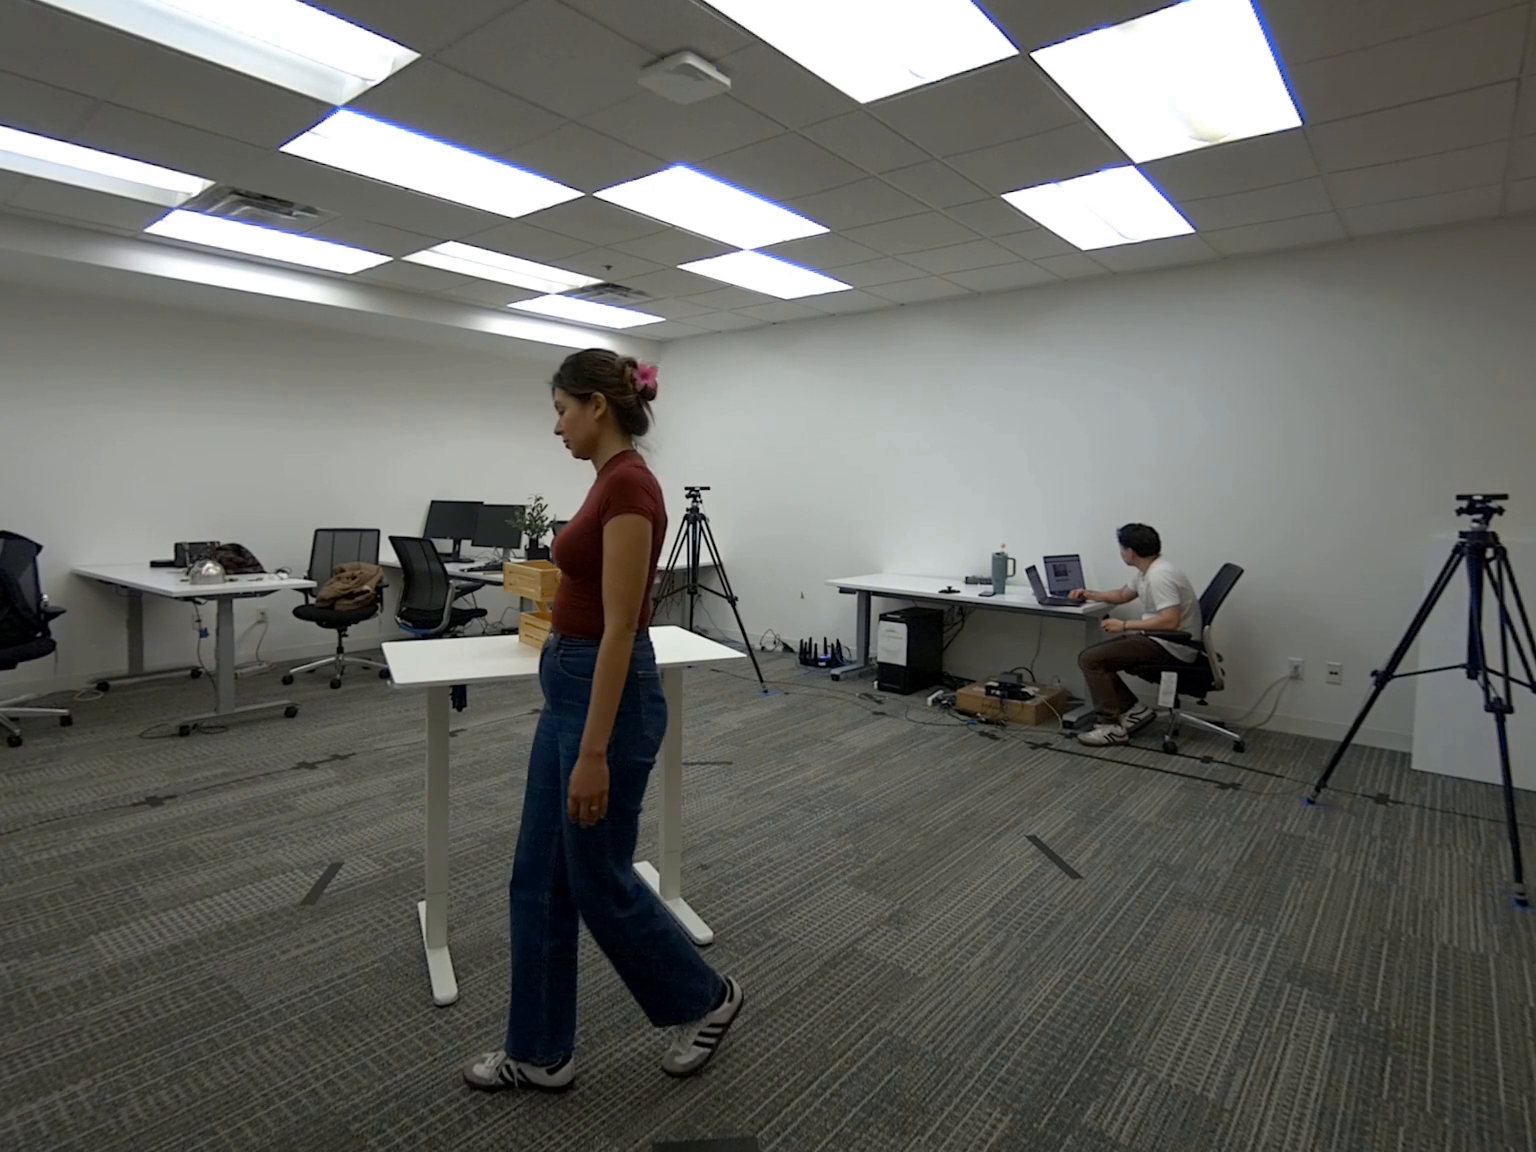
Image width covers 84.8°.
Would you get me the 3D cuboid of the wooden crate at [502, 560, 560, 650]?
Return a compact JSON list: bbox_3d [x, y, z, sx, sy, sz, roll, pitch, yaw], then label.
[{"bbox_3d":[-0.654,0.087,2.695,0.293,0.272,0.335,-4,6,-37],"label":"wooden crate"}]
